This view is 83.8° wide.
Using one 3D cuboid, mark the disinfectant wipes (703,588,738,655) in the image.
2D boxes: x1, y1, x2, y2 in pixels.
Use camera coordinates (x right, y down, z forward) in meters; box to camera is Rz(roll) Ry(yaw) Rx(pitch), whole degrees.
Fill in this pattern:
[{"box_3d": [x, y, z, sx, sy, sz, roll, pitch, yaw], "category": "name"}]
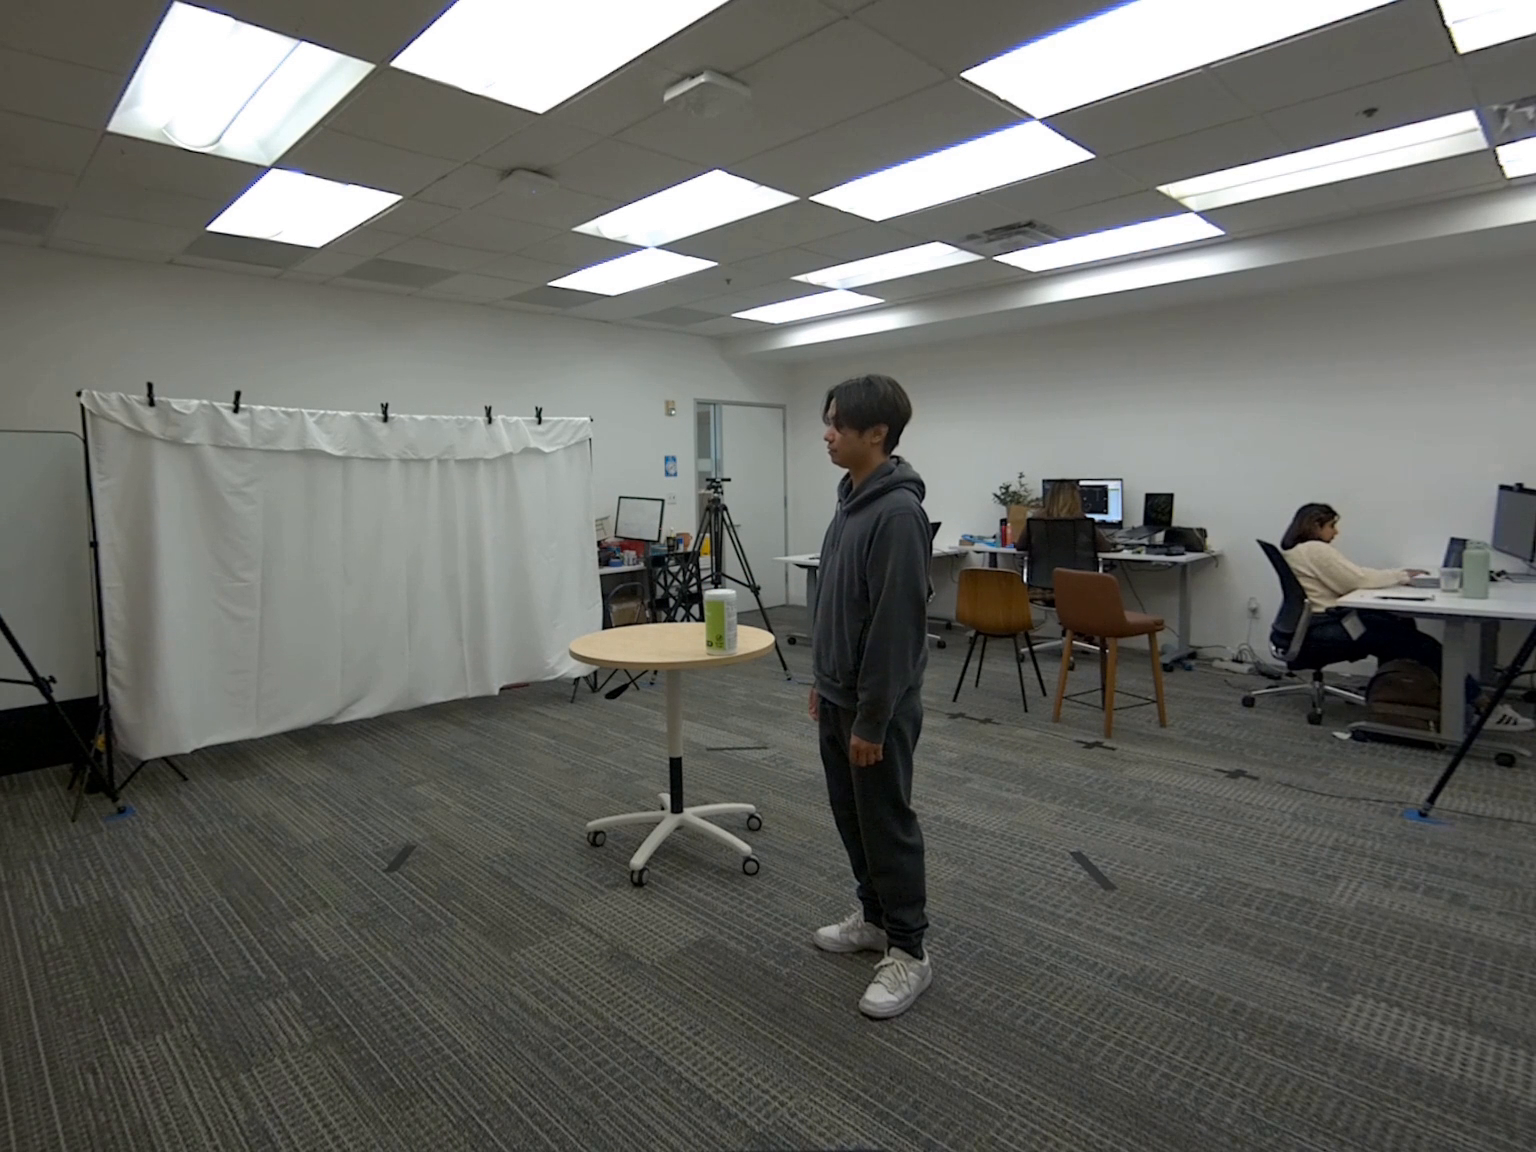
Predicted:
[{"box_3d": [-0.156, 0.160, 2.931, 0.118, 0.216, 0.118, 0, 5, -2], "category": "disinfectant wipes"}]
